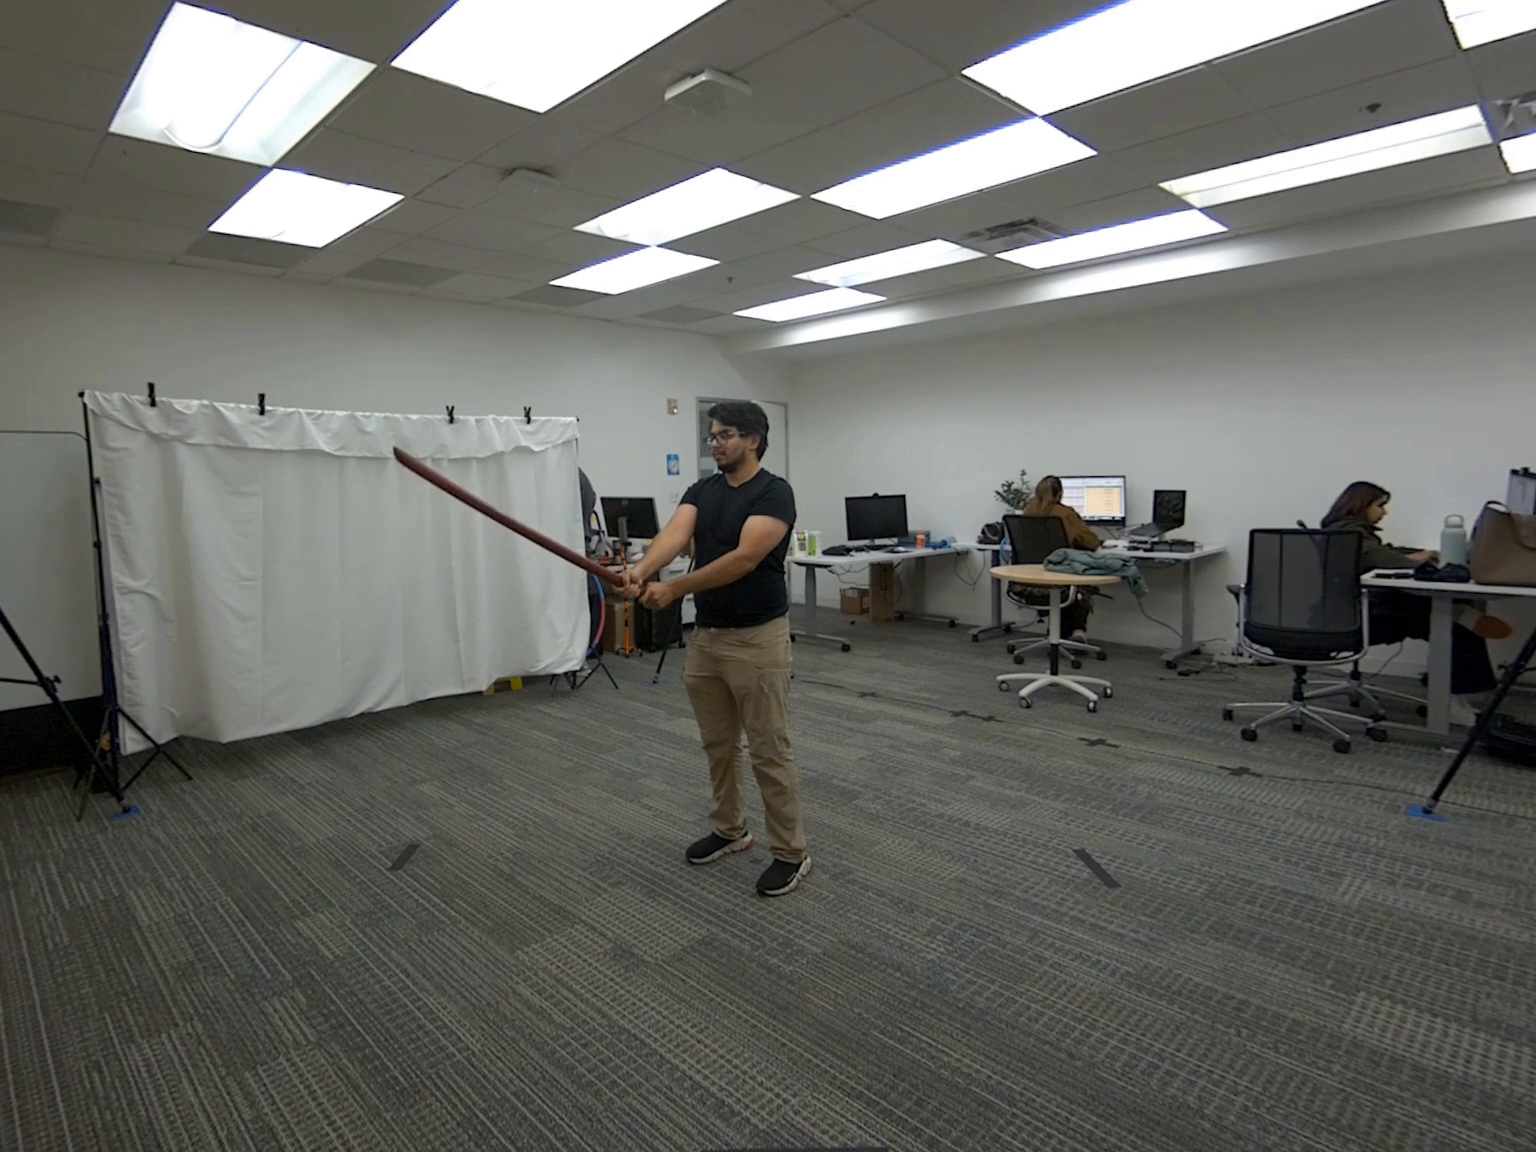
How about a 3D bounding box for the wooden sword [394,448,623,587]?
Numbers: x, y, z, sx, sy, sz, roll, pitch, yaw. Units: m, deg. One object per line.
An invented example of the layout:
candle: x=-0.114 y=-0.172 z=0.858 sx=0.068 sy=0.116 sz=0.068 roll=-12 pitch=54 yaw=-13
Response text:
wooden sword: x=-0.620 y=-0.096 z=2.436 sx=0.052 sy=0.024 sz=0.985 roll=-21 pitch=-38 yaw=31
